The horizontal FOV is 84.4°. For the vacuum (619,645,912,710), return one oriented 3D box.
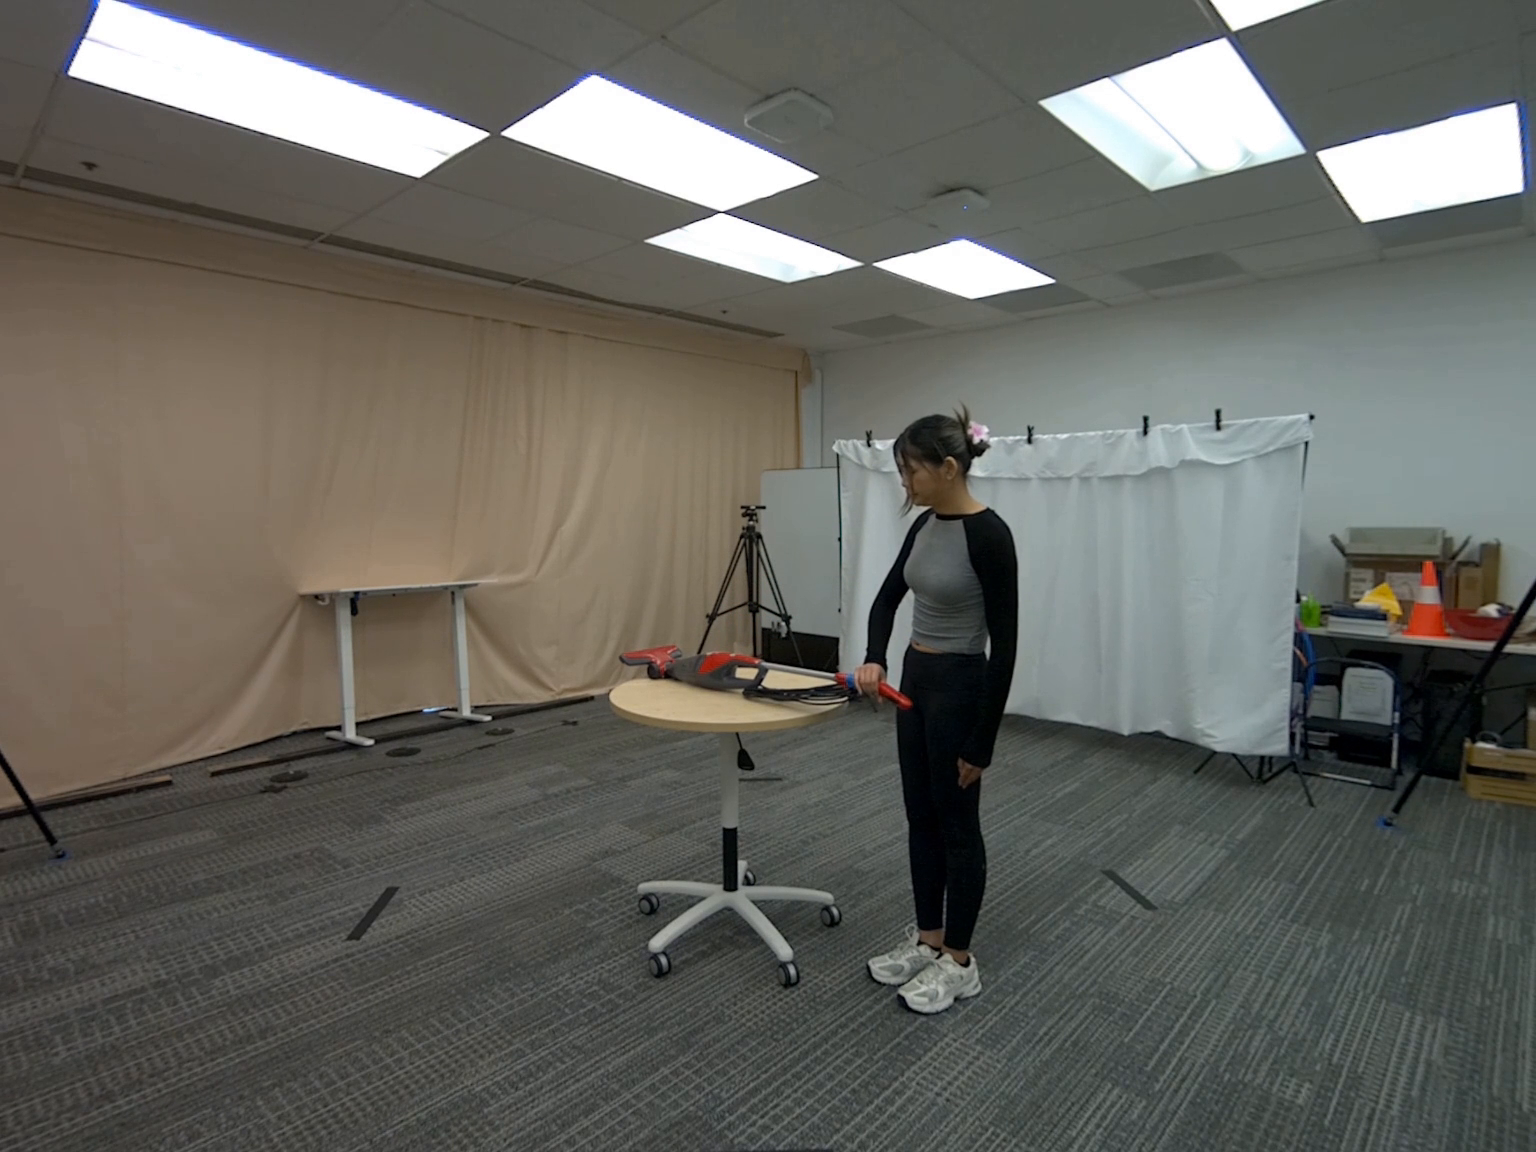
[{"bbox_3d":[-0.023,0.334,2.603,1.084,0.144,0.245,2,4,45],"label":"vacuum"}]
